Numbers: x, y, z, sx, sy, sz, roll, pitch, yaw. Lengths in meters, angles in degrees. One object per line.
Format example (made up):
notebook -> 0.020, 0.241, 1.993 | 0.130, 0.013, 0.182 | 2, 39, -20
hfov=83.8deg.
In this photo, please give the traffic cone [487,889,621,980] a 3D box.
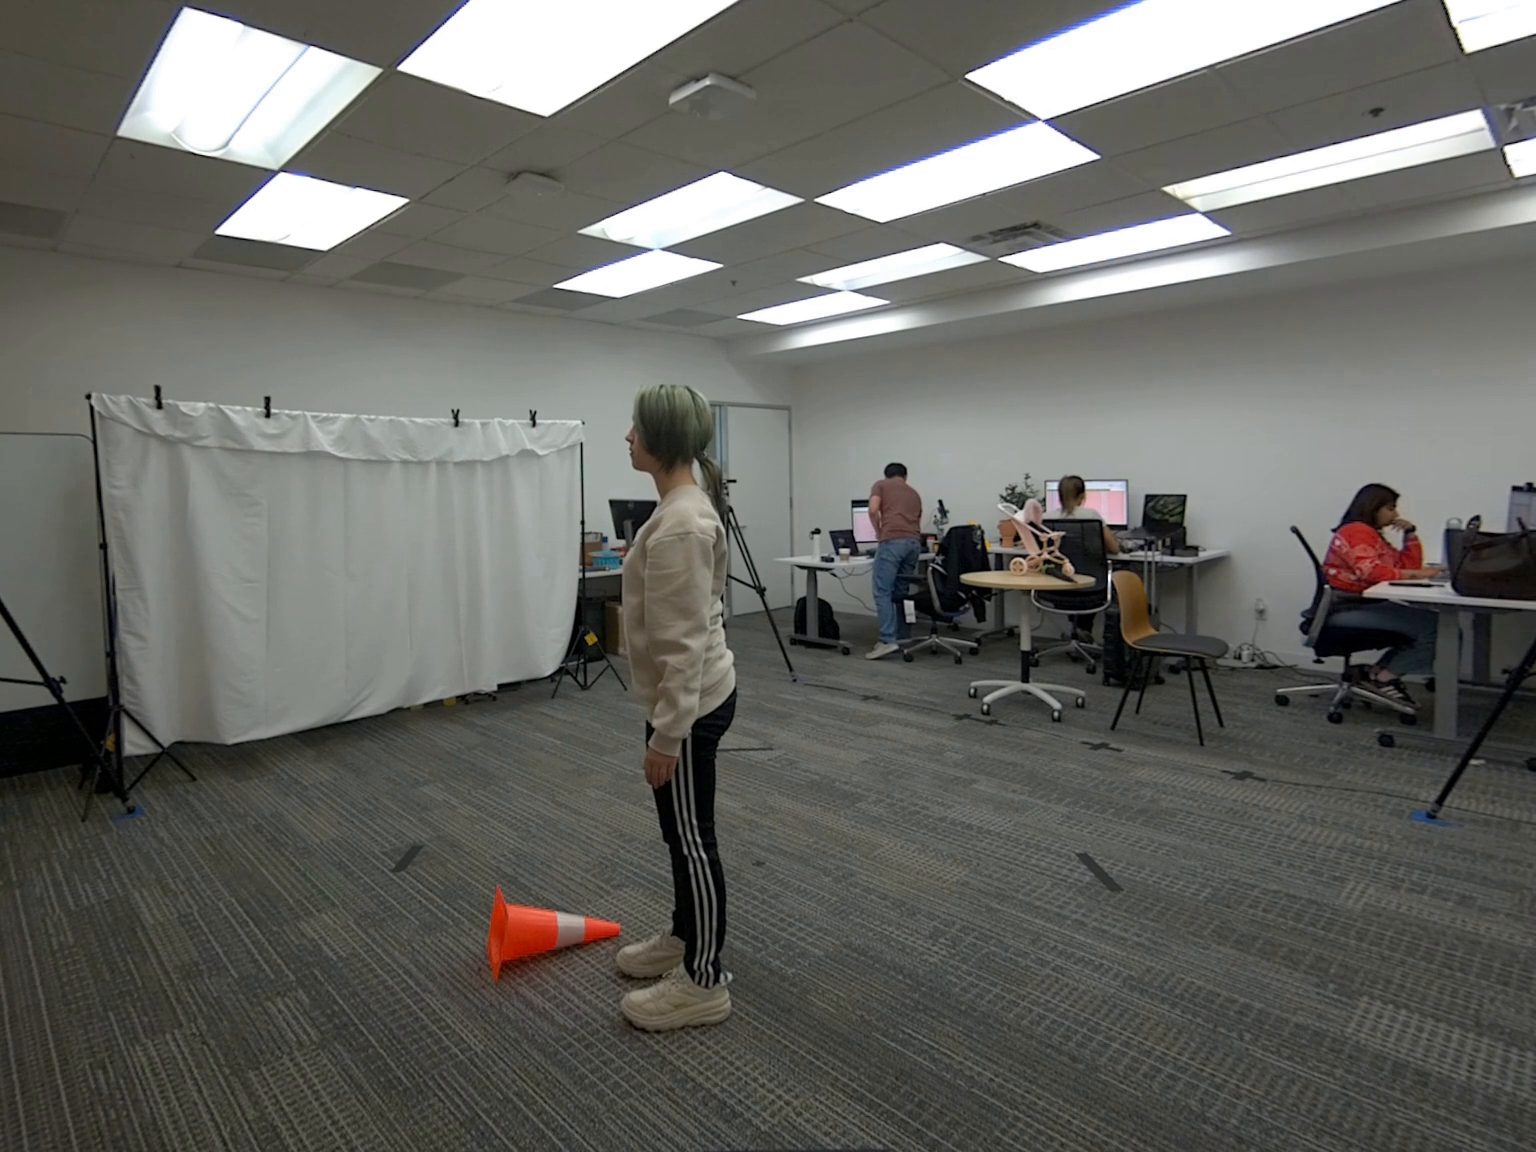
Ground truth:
traffic cone -> -0.626, 1.068, 2.565 | 0.373, 0.205, 0.209 | 10, 0, -27
